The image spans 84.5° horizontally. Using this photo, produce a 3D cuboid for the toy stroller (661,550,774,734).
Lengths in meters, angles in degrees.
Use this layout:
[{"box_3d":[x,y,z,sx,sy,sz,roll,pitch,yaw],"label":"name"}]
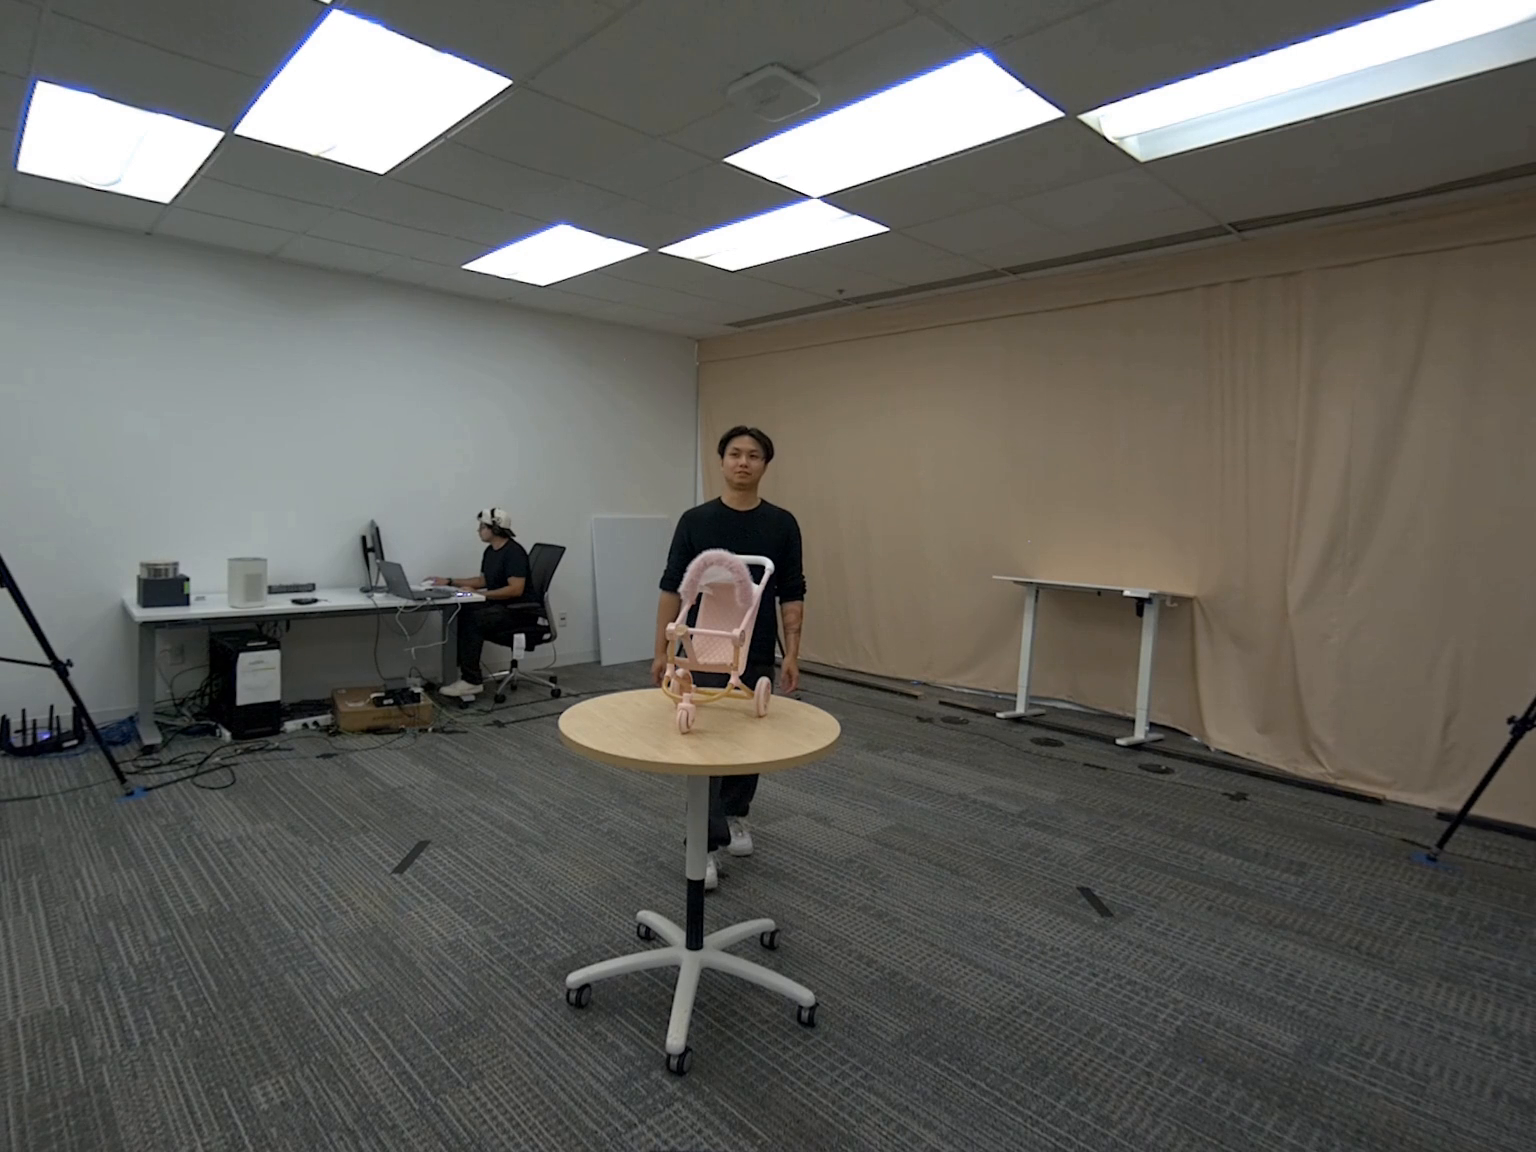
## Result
[{"box_3d":[-0.161,0.174,2.332,0.286,0.538,0.333,4,-11,23],"label":"toy stroller"}]
